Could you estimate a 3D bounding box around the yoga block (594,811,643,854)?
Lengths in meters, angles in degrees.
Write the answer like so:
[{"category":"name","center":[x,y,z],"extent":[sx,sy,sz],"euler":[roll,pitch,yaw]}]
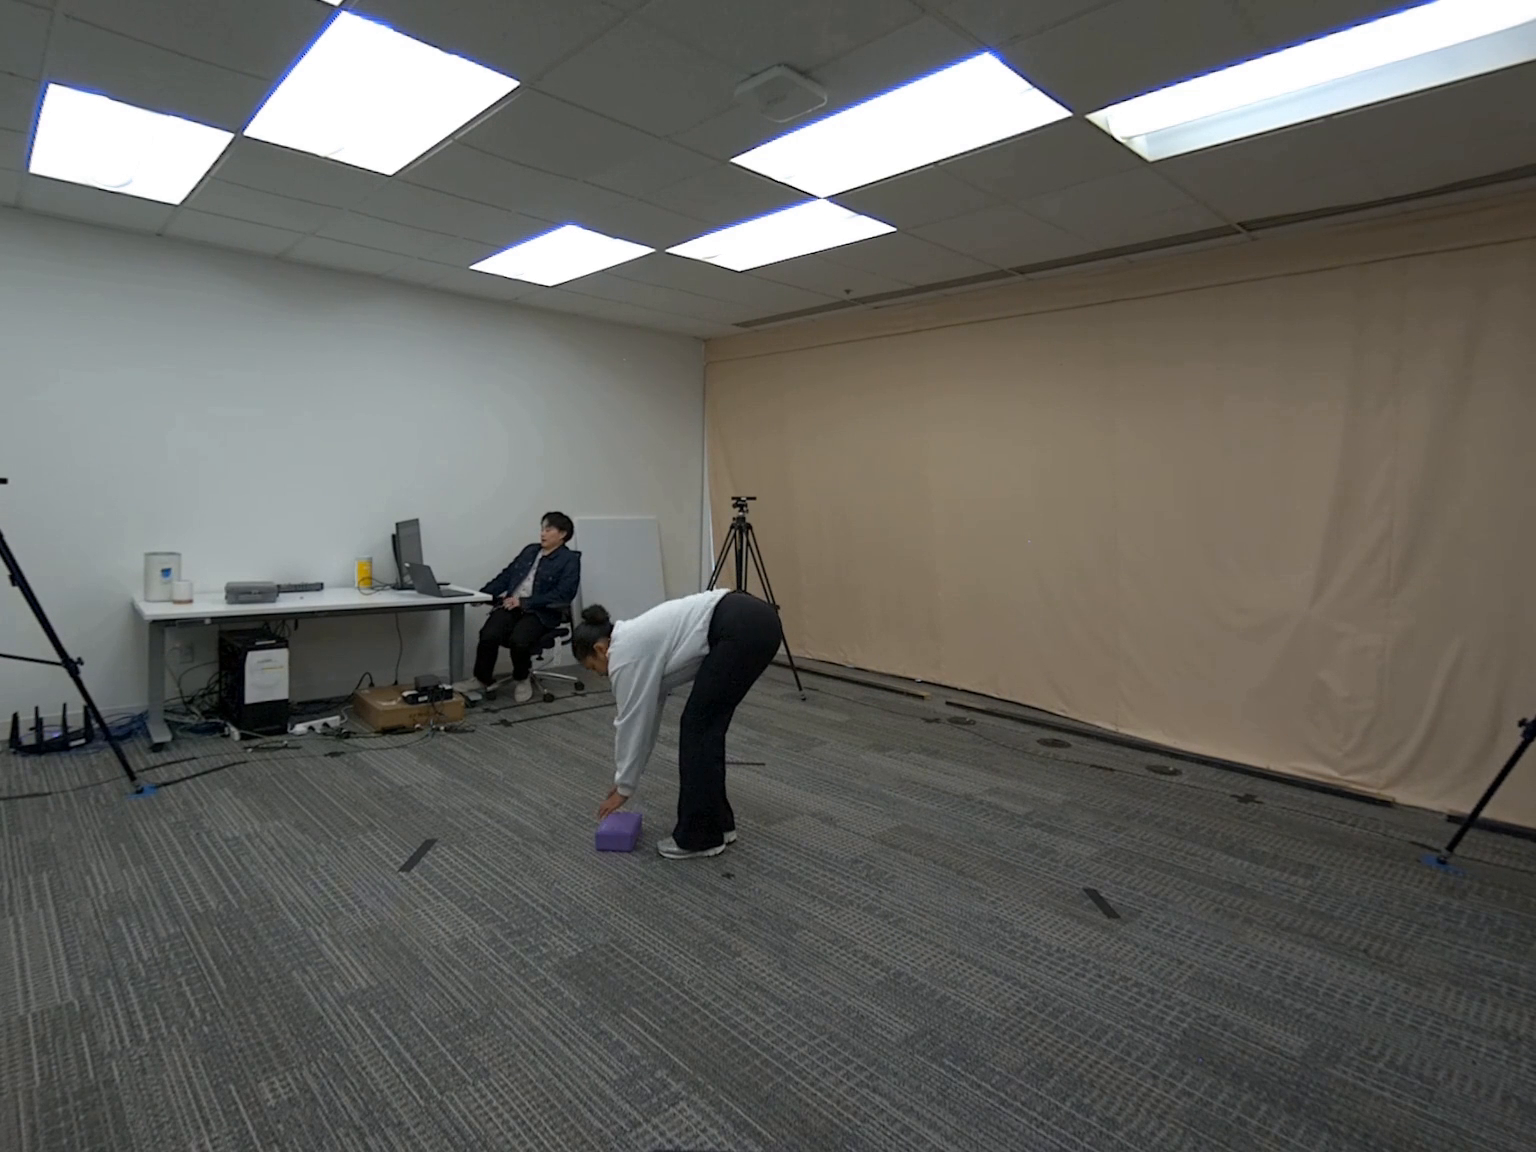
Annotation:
[{"category":"yoga block","center":[-0.600,1.017,3.400],"extent":[0.149,0.076,0.229],"euler":[0,3,3]}]
